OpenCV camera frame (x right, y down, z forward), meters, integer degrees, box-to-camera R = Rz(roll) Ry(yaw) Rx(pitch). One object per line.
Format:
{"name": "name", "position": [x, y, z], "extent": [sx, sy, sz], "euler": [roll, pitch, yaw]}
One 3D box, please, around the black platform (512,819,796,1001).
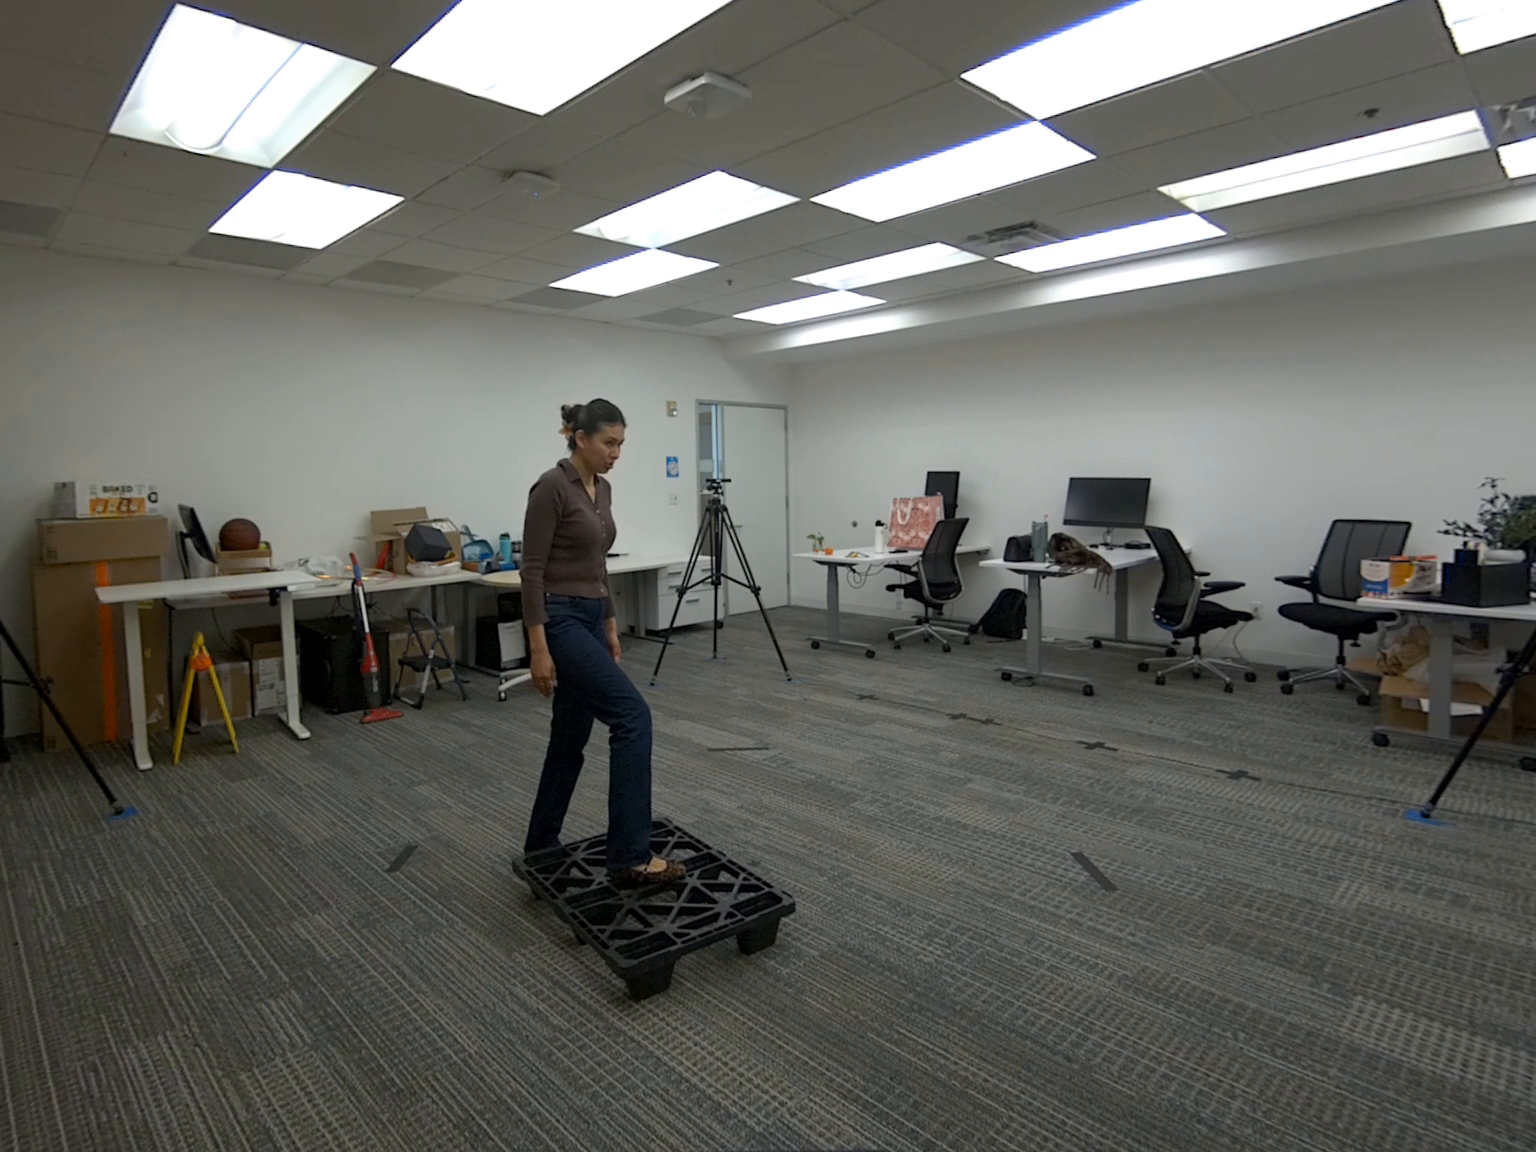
{"name": "black platform", "position": [-0.386, 1.029, 2.730], "extent": [0.590, 0.142, 0.830], "euler": [-5, 8, -36]}
